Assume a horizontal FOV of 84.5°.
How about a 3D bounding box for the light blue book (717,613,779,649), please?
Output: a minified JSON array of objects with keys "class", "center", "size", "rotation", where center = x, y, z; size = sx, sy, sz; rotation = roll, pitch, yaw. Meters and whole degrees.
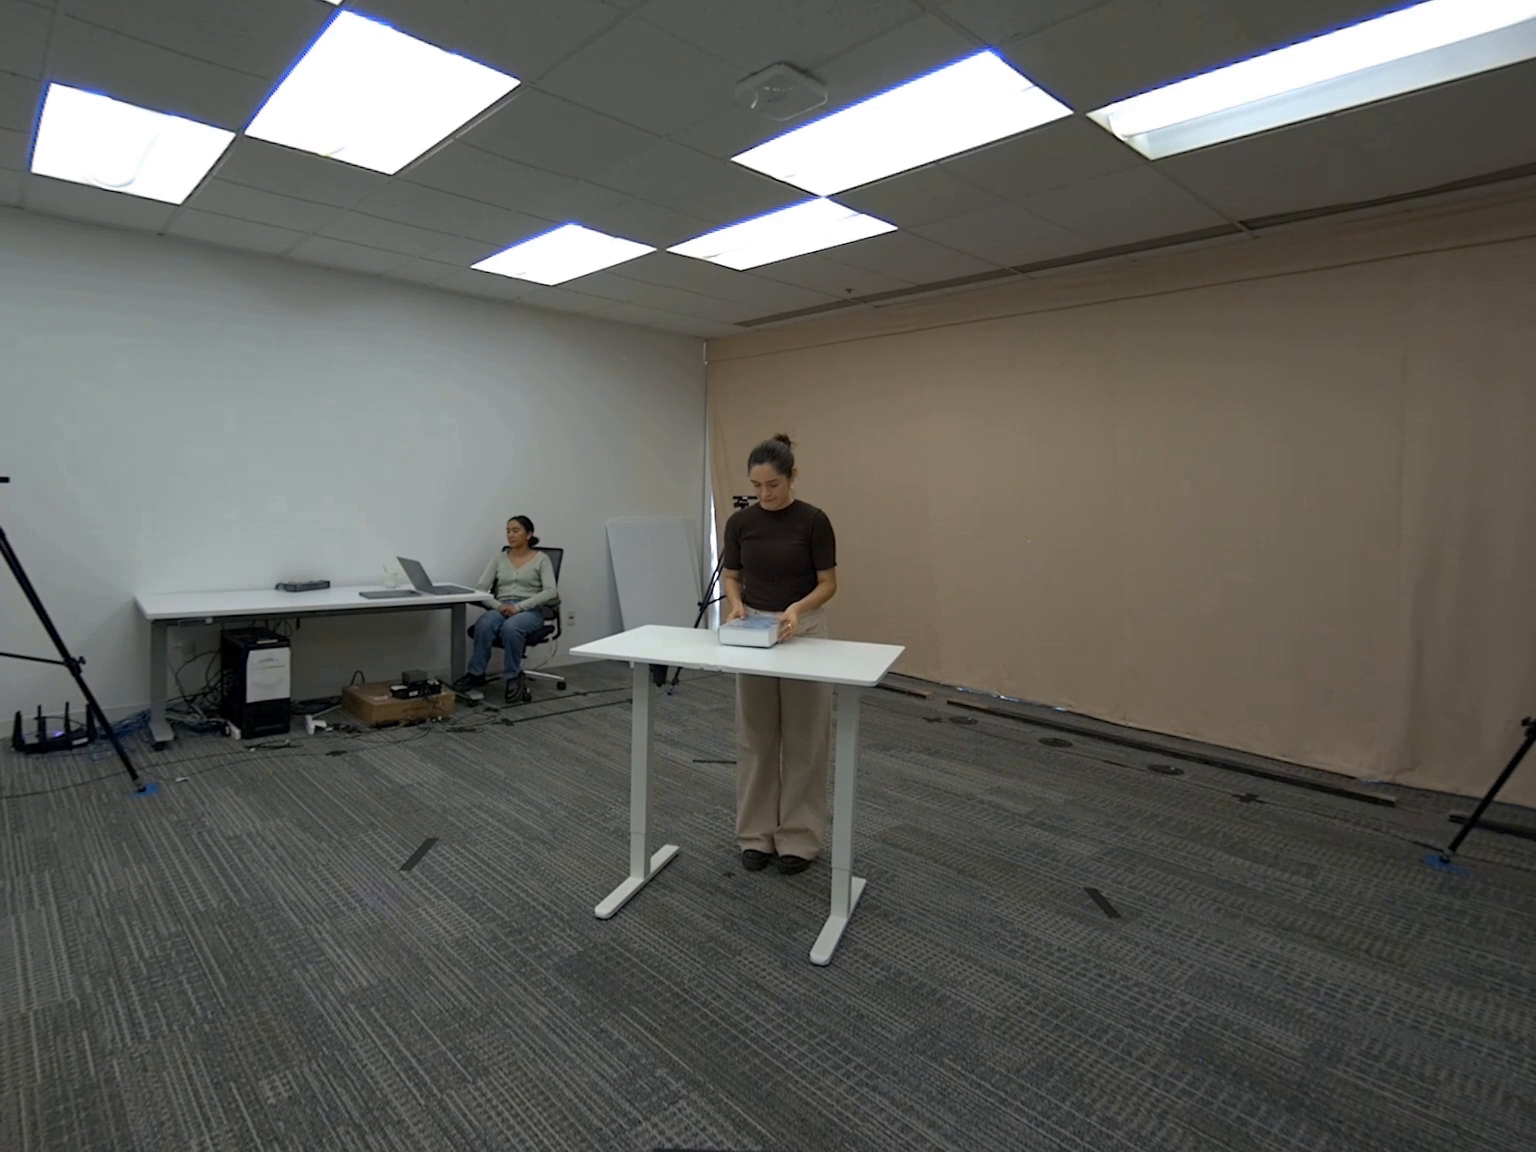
[{"class":"light blue book","center":[-0.055,0.193,2.981],"size":[0.194,0.059,0.258],"rotation":[2,7,19]}]
